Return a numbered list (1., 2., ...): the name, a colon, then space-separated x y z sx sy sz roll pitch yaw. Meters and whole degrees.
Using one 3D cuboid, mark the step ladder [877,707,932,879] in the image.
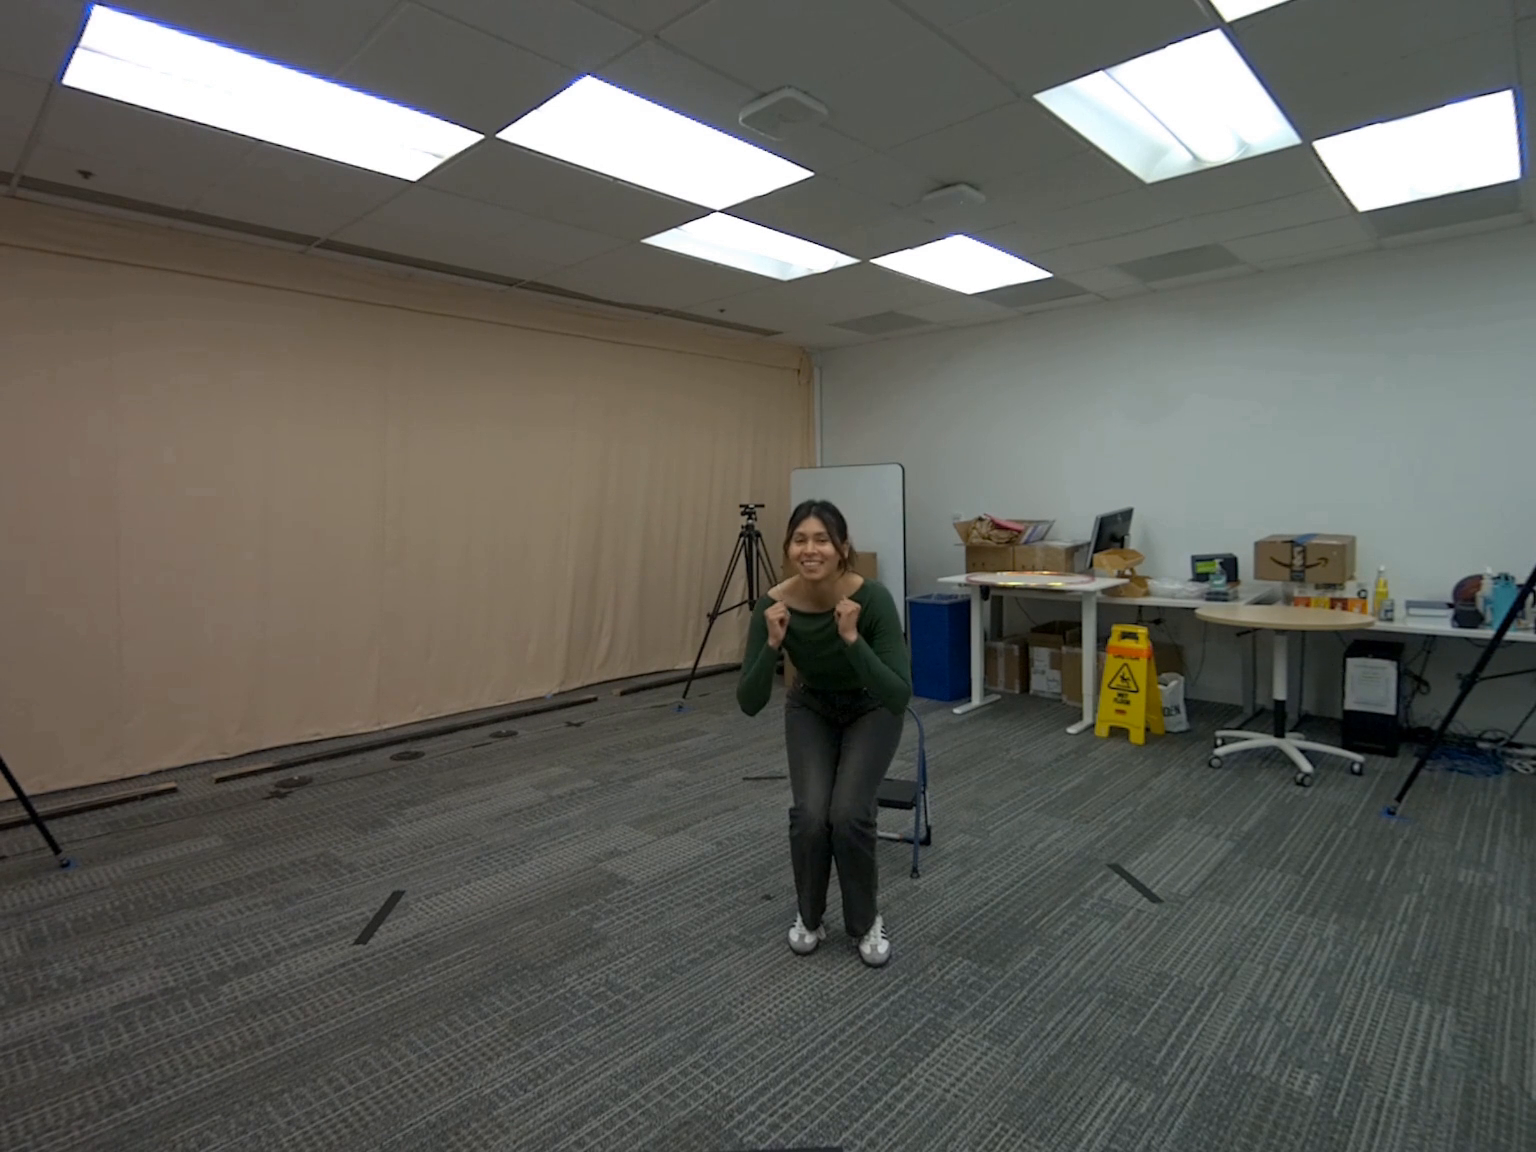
1. step ladder: 0.419 0.796 3.339 0.440 0.605 0.342 1 3 22
